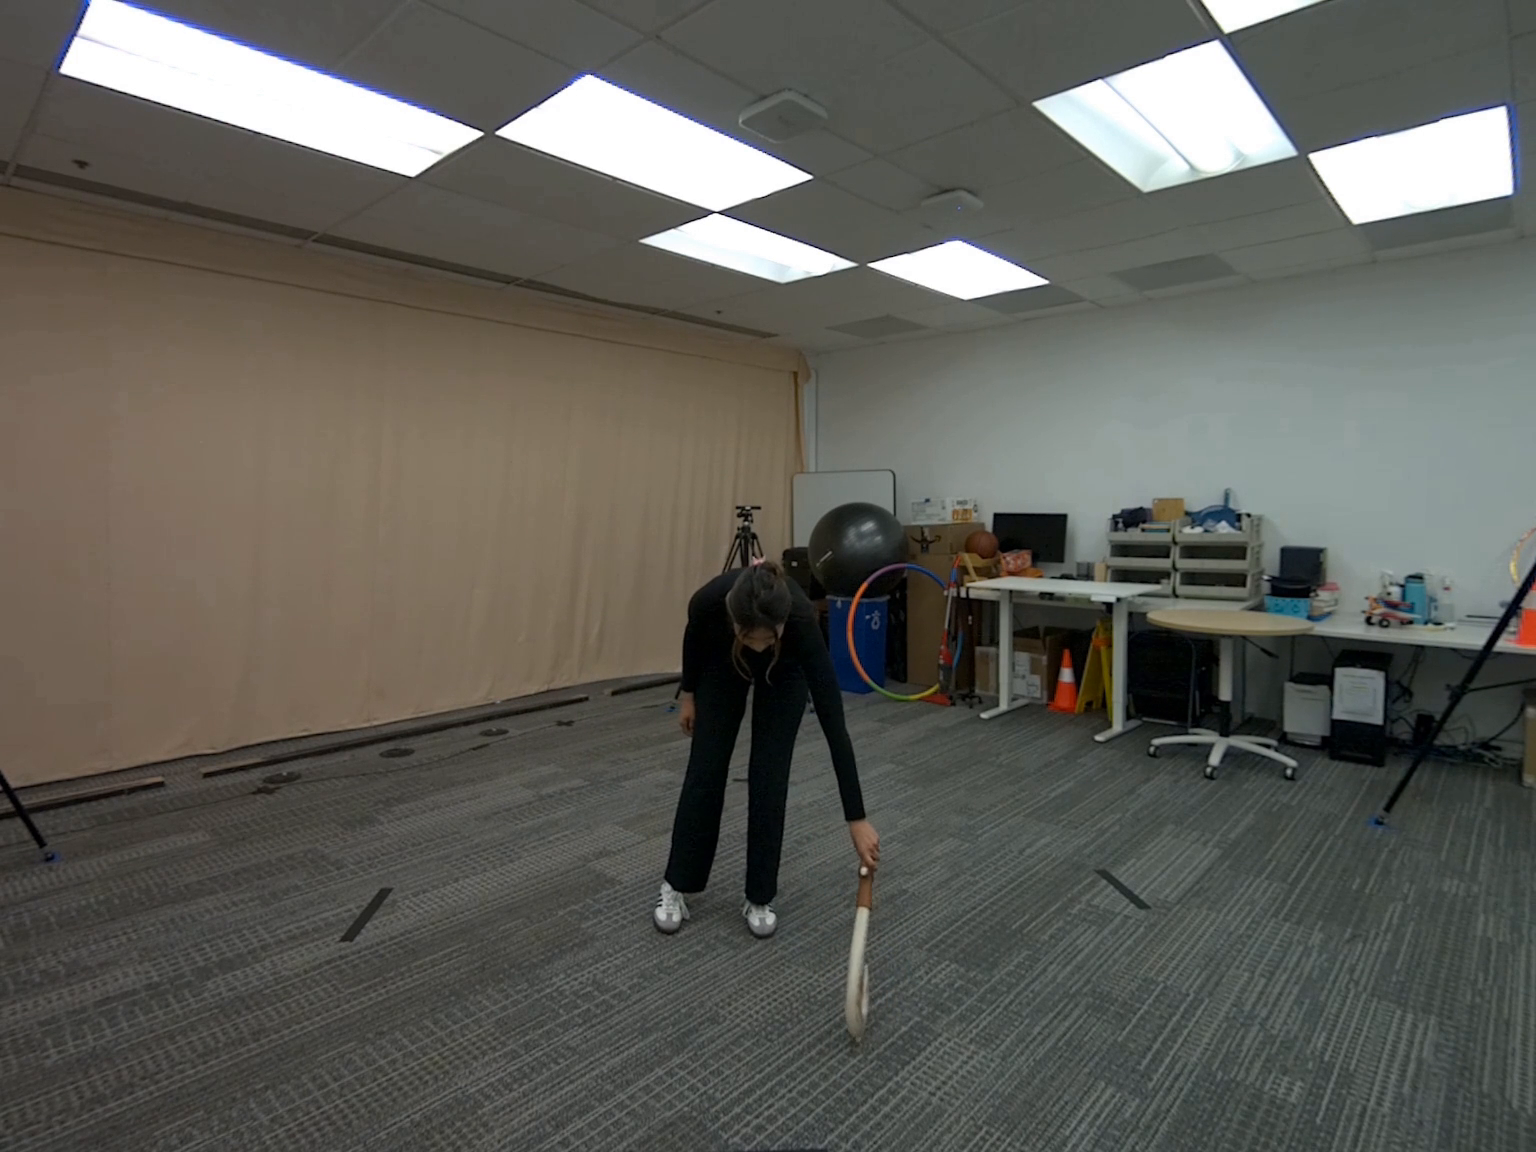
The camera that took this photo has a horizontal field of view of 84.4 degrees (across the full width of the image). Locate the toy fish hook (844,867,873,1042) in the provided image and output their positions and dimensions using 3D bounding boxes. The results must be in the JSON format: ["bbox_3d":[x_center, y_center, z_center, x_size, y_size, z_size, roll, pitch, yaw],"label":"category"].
[{"bbox_3d":[0.267,0.983,2.305,0.049,0.511,0.218,3,-37,15],"label":"toy fish hook"}]
